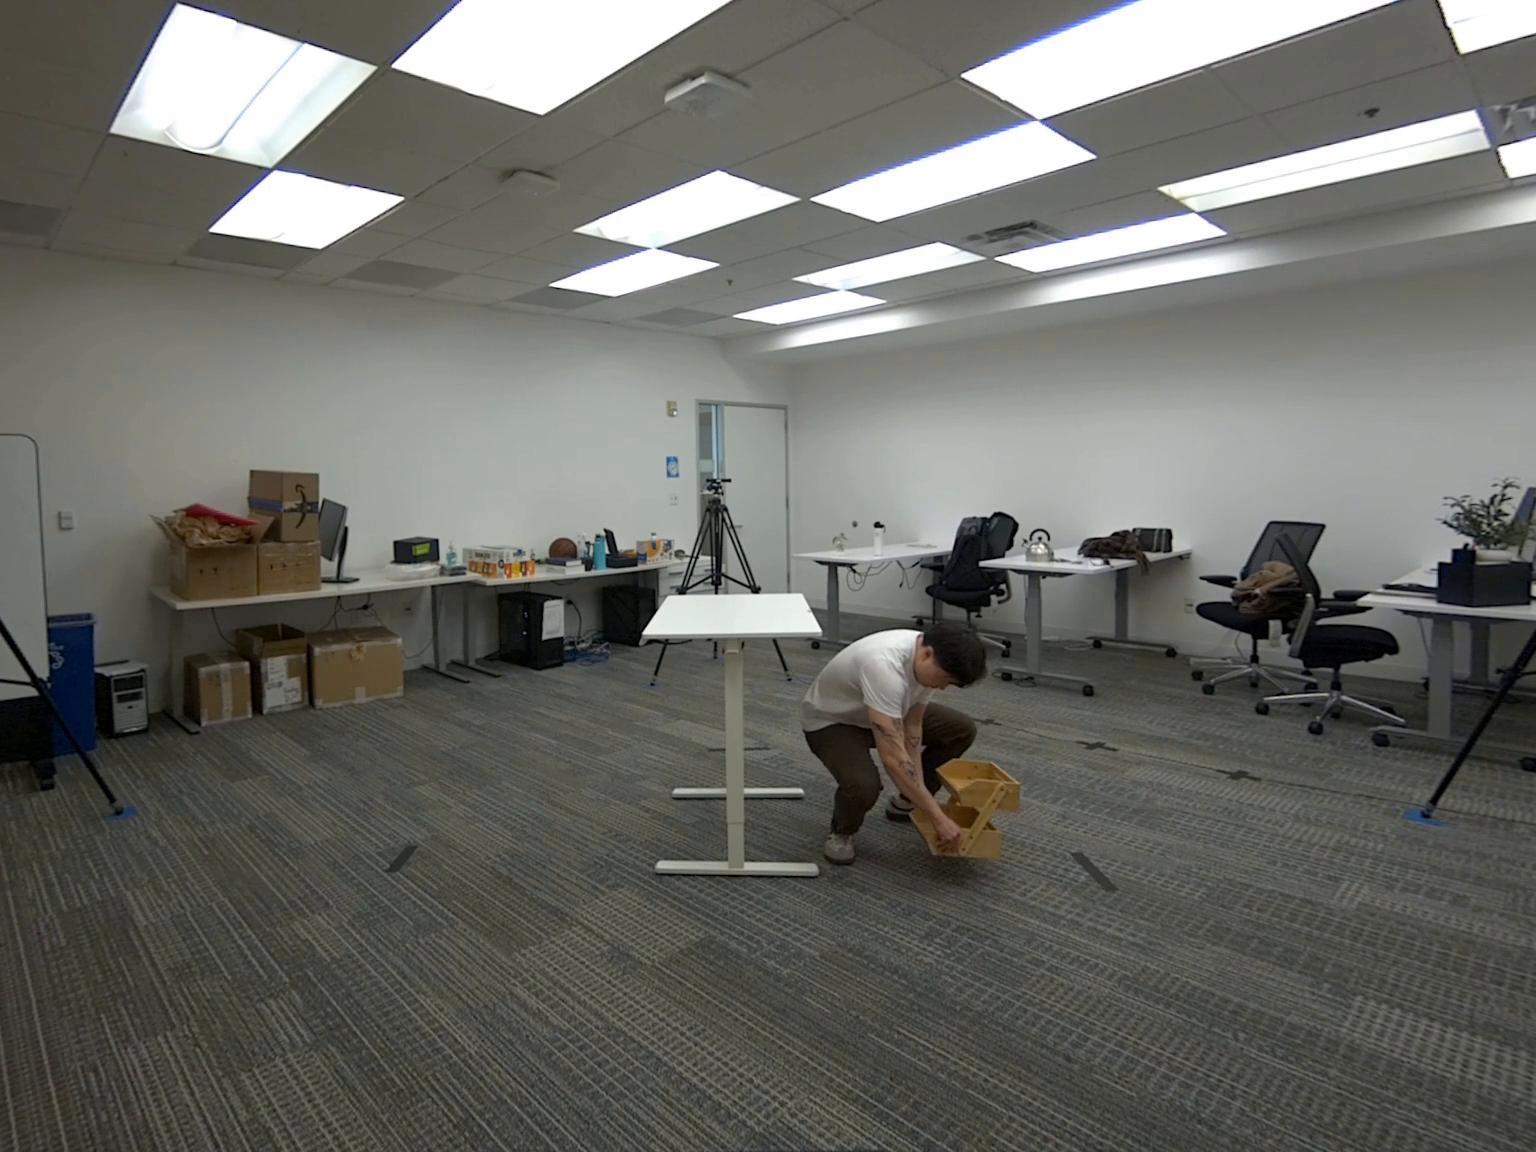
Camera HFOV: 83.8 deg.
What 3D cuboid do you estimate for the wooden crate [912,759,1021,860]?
[{"bbox_3d":[0.679,0.811,3.044,0.302,0.273,0.324,4,0,-1],"label":"wooden crate"}]
